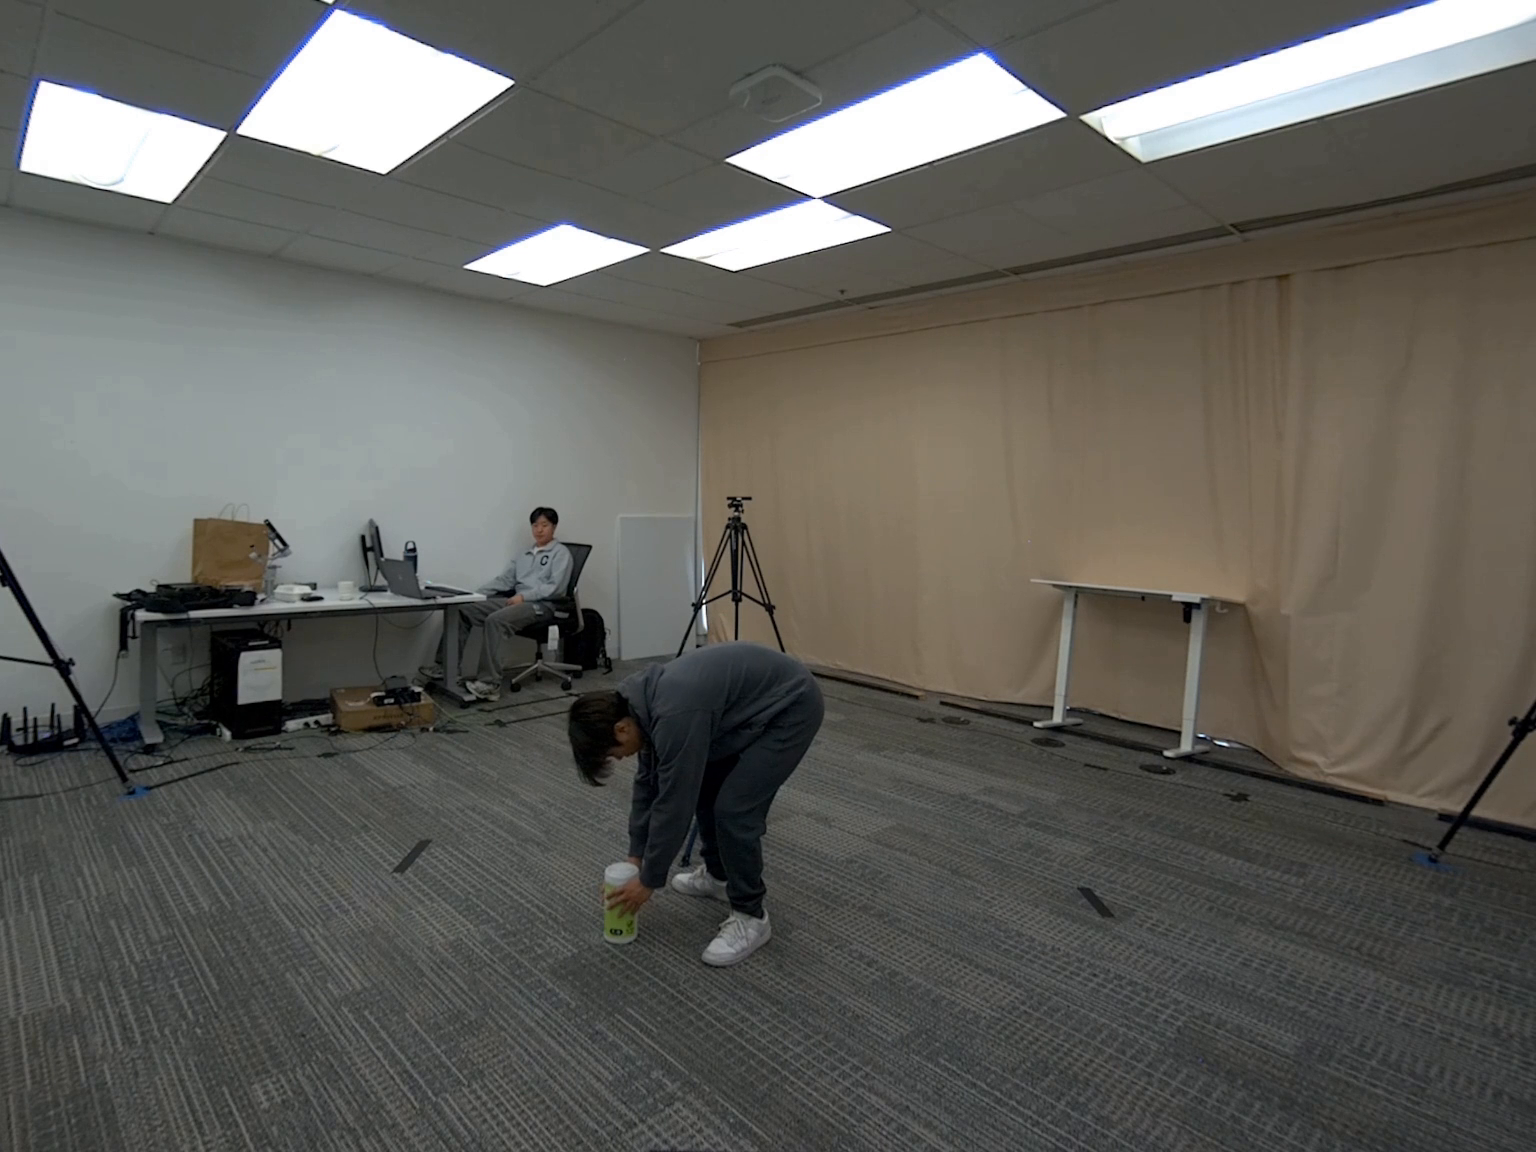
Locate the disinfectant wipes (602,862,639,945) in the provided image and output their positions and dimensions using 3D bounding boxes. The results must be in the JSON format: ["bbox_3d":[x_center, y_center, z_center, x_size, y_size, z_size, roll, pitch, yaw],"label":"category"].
[{"bbox_3d":[-0.465,1.031,2.658,0.118,0.217,0.118,1,5,-1],"label":"disinfectant wipes"}]
